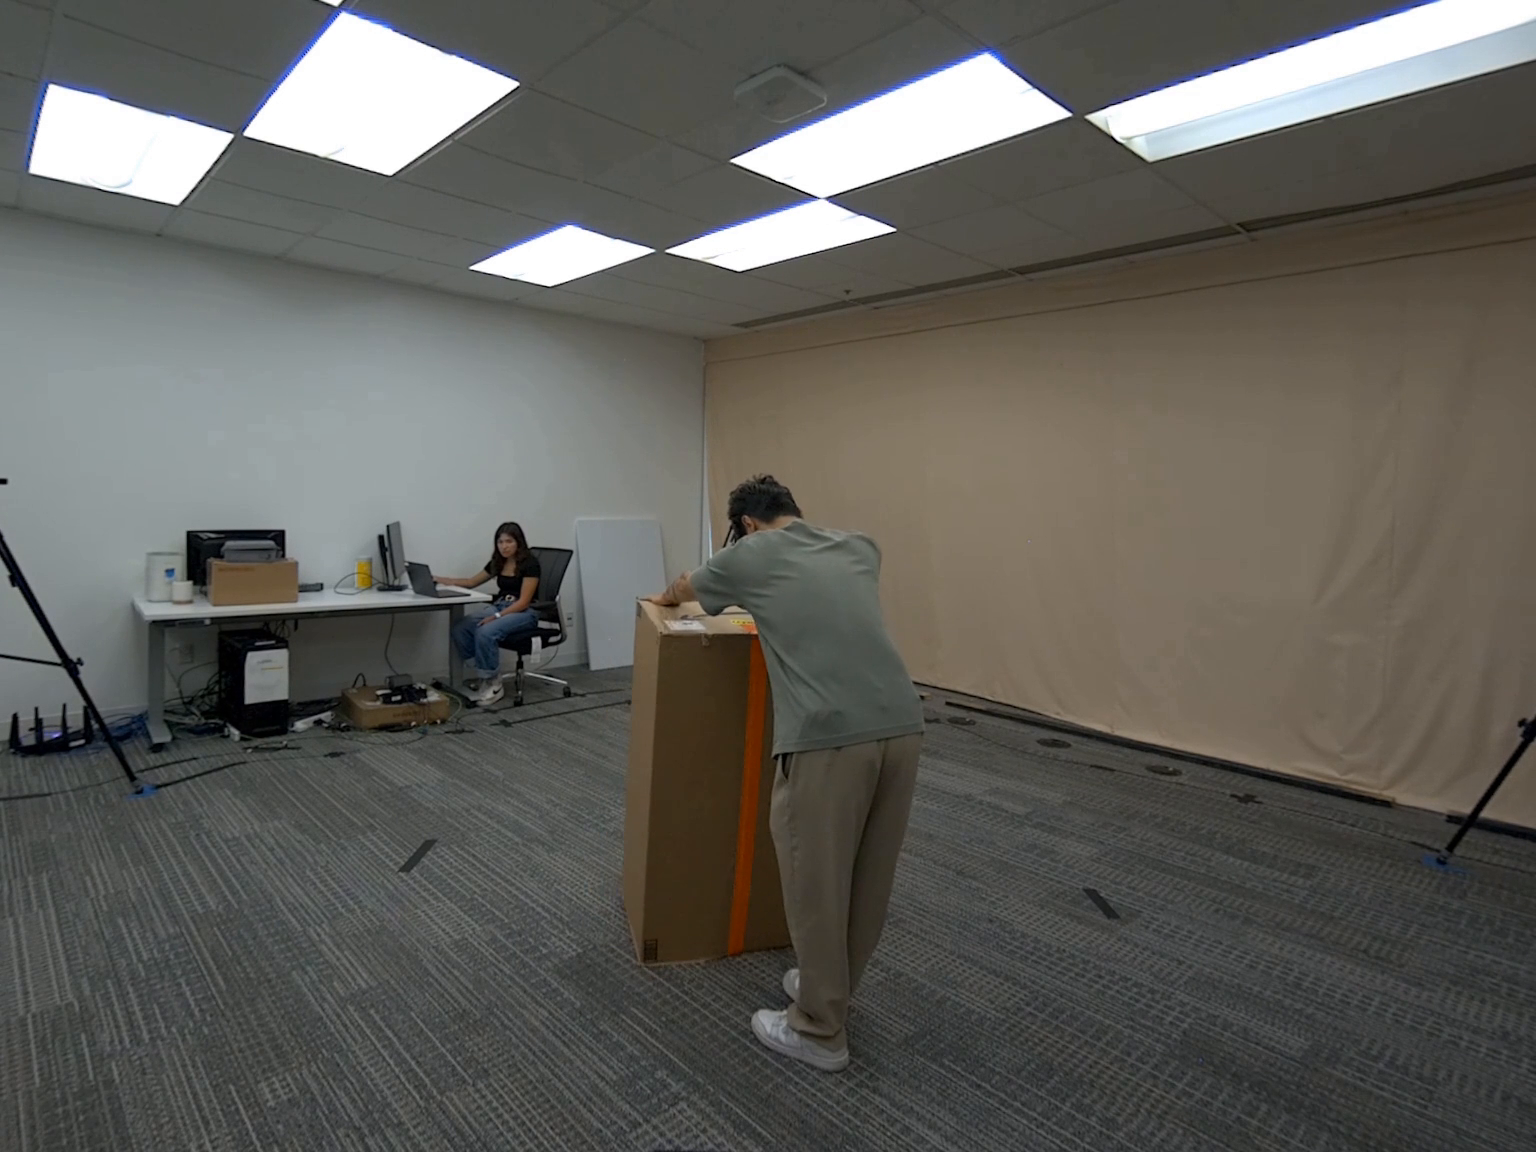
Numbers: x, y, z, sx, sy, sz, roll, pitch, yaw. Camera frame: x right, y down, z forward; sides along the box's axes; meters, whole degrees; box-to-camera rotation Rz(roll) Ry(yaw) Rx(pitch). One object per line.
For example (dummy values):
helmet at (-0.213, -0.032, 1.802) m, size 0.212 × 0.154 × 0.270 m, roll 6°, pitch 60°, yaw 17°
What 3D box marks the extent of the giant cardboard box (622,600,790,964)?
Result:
giant cardboard box at (-0.140, 0.617, 2.688) m, size 0.569 × 1.019 × 0.435 m, roll 1°, pitch 9°, yaw -18°
